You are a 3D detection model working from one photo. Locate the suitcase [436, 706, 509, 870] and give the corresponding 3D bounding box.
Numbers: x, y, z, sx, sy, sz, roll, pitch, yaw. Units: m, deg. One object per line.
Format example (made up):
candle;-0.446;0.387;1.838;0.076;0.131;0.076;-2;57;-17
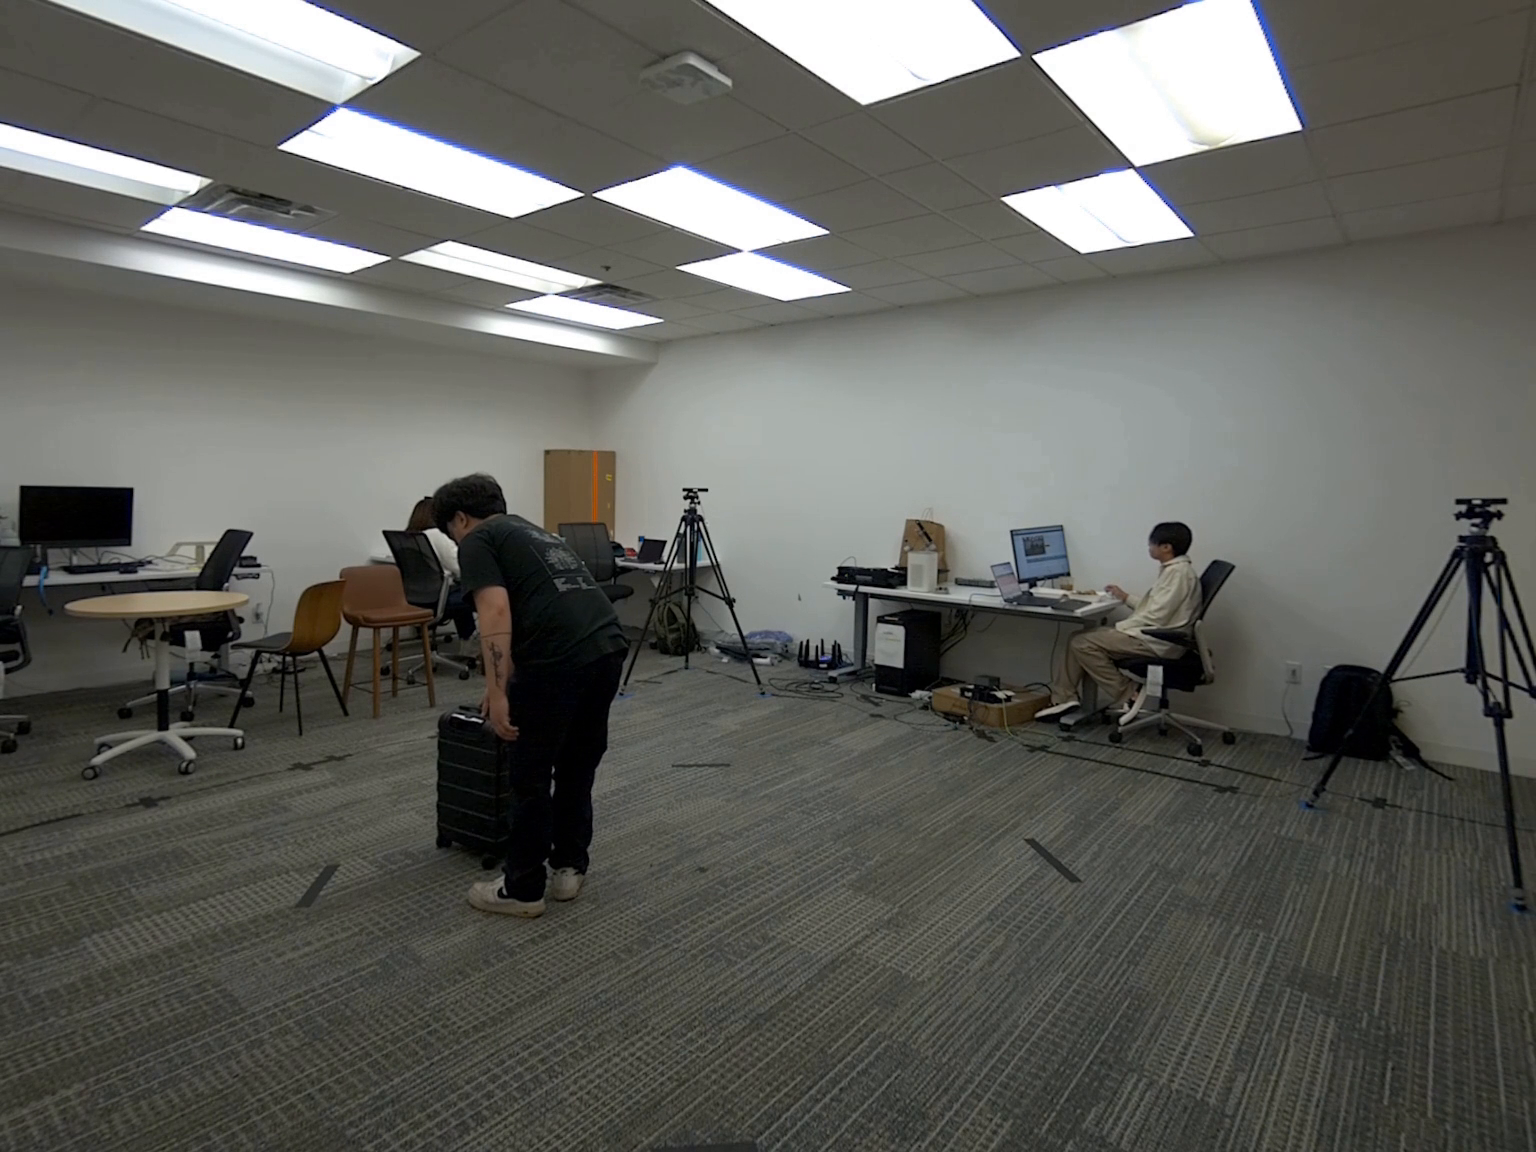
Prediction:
suitcase;-1.088;0.768;3.252;0.386;0.548;0.242;3;3;31
